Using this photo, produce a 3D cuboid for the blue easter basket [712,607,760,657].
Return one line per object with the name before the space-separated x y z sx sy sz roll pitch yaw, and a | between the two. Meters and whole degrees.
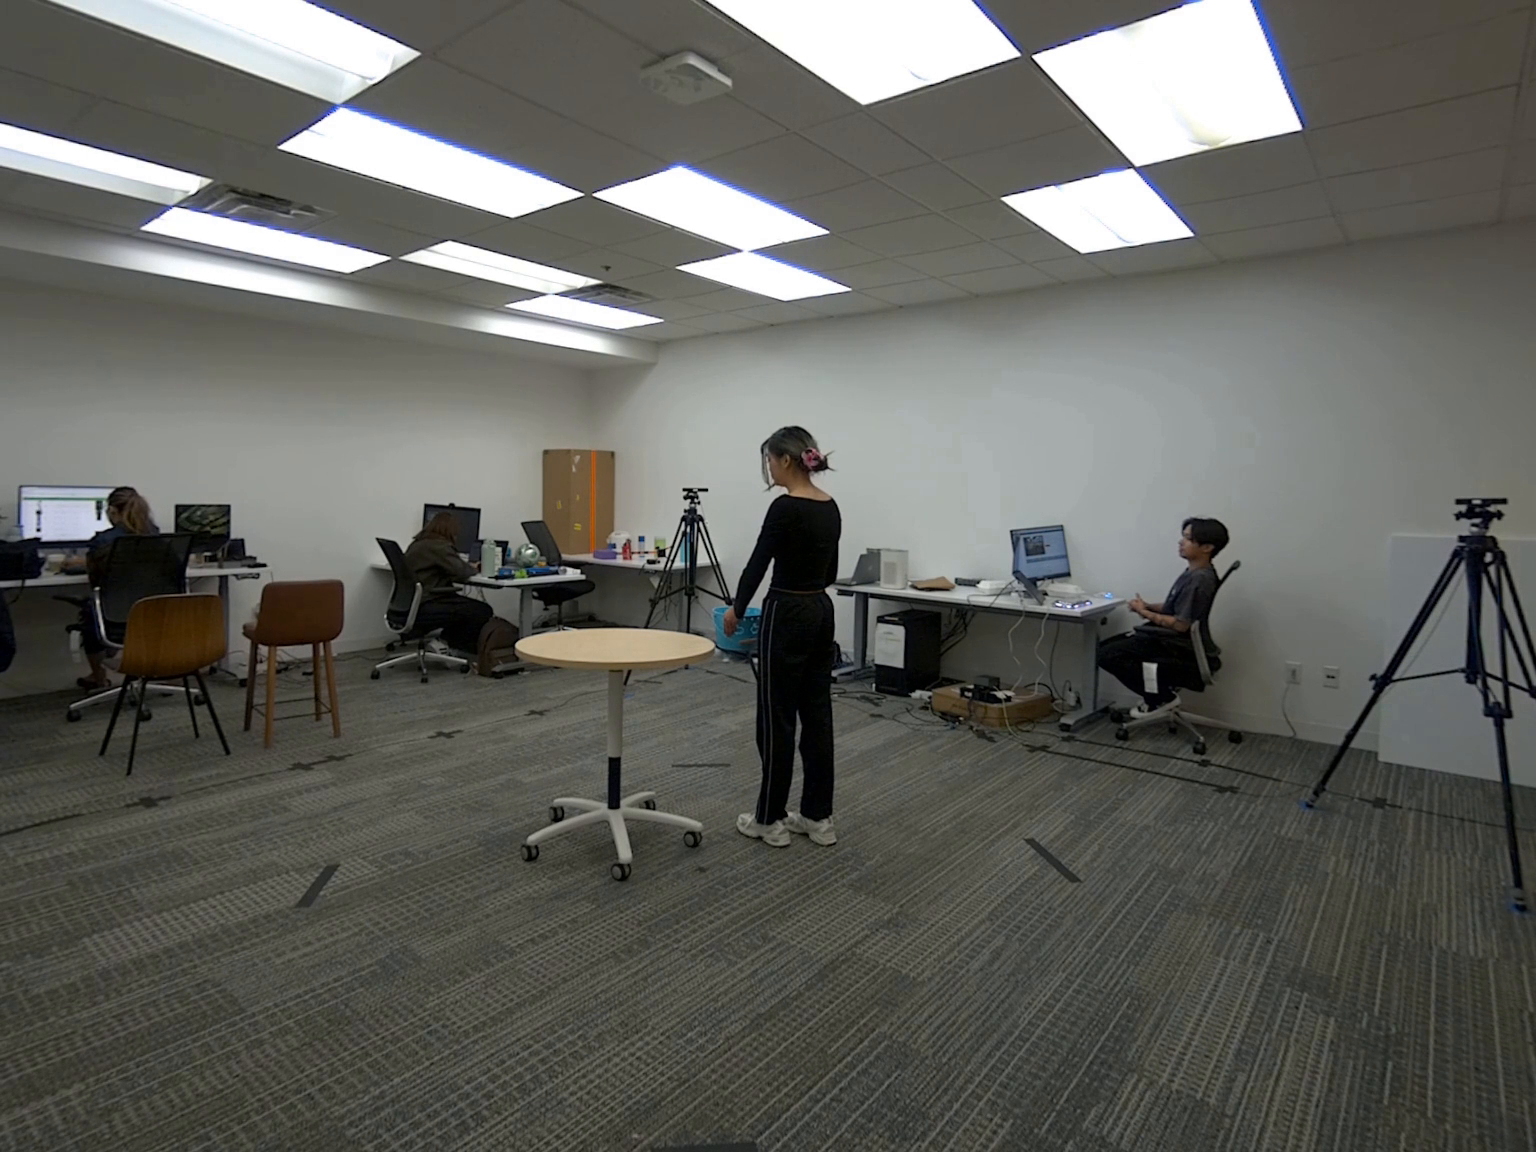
blue easter basket | -0.129 0.223 3.647 0.243 0.155 0.245 2 6 -2
